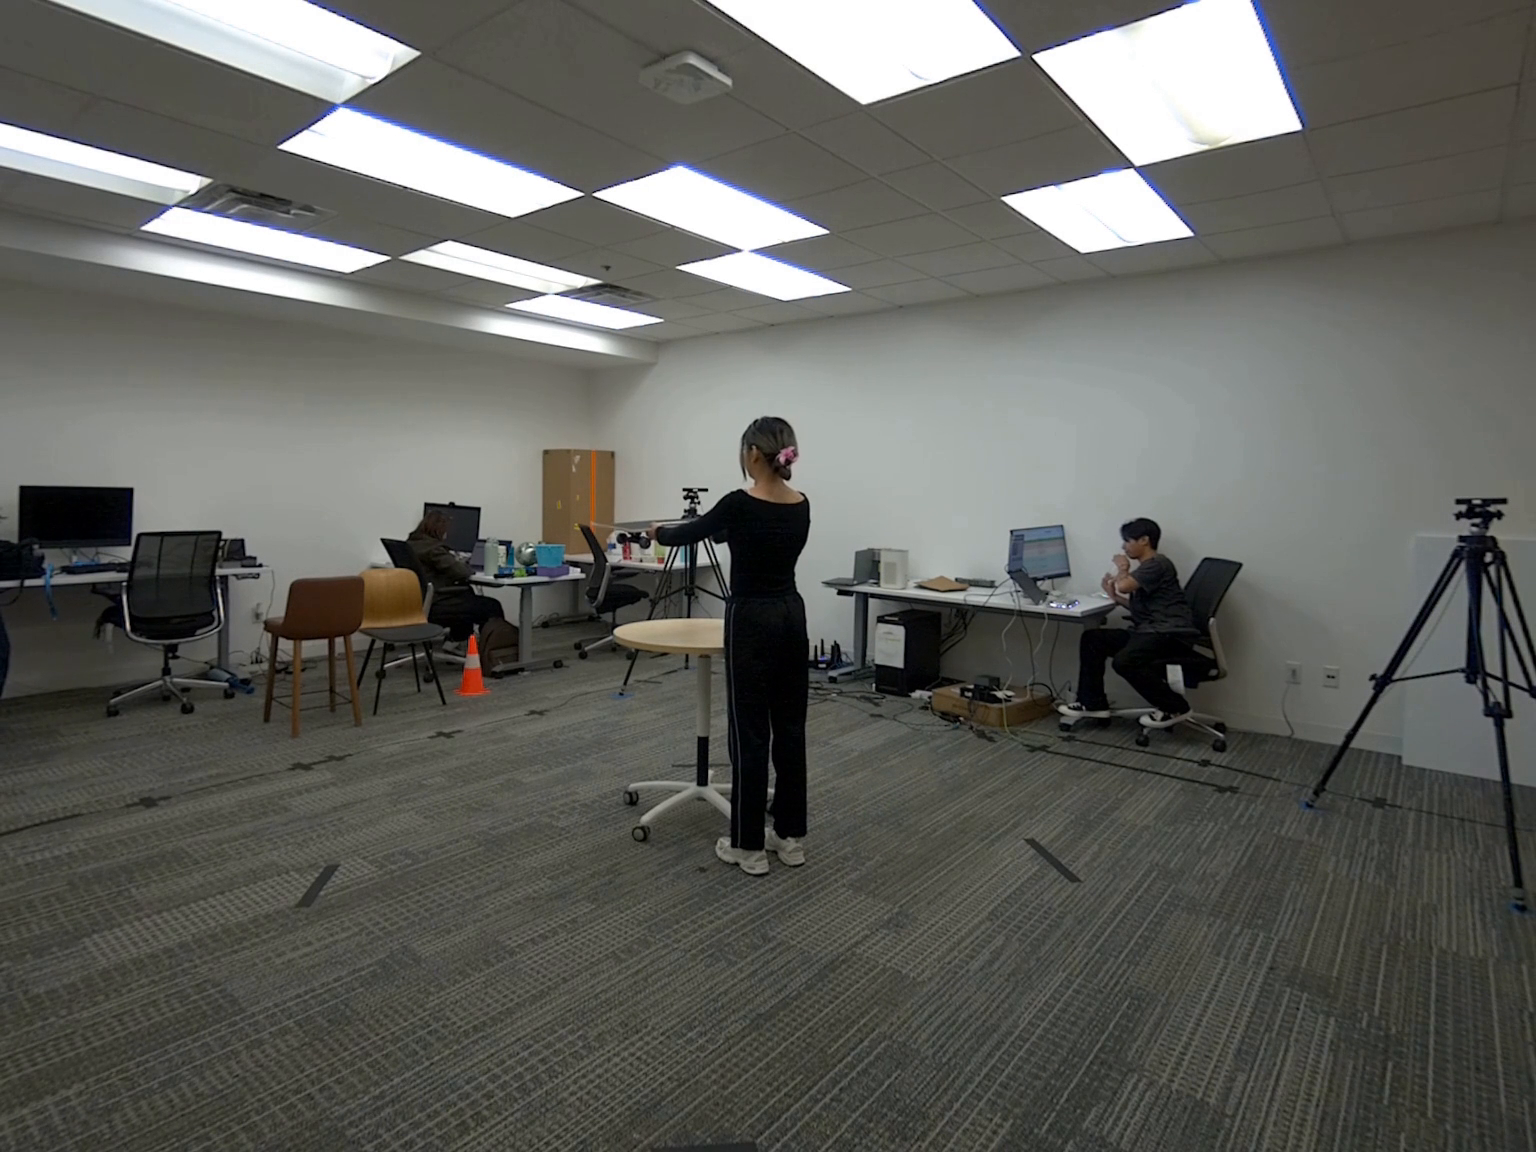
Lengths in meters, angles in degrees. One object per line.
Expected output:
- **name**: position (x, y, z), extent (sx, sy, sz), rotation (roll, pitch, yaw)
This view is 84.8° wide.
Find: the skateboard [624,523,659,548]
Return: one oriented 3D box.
- **skateboard**: position (-0.412, -0.198, 3.663), extent (0.200, 0.109, 0.763), rotation (9, 12, 43)
